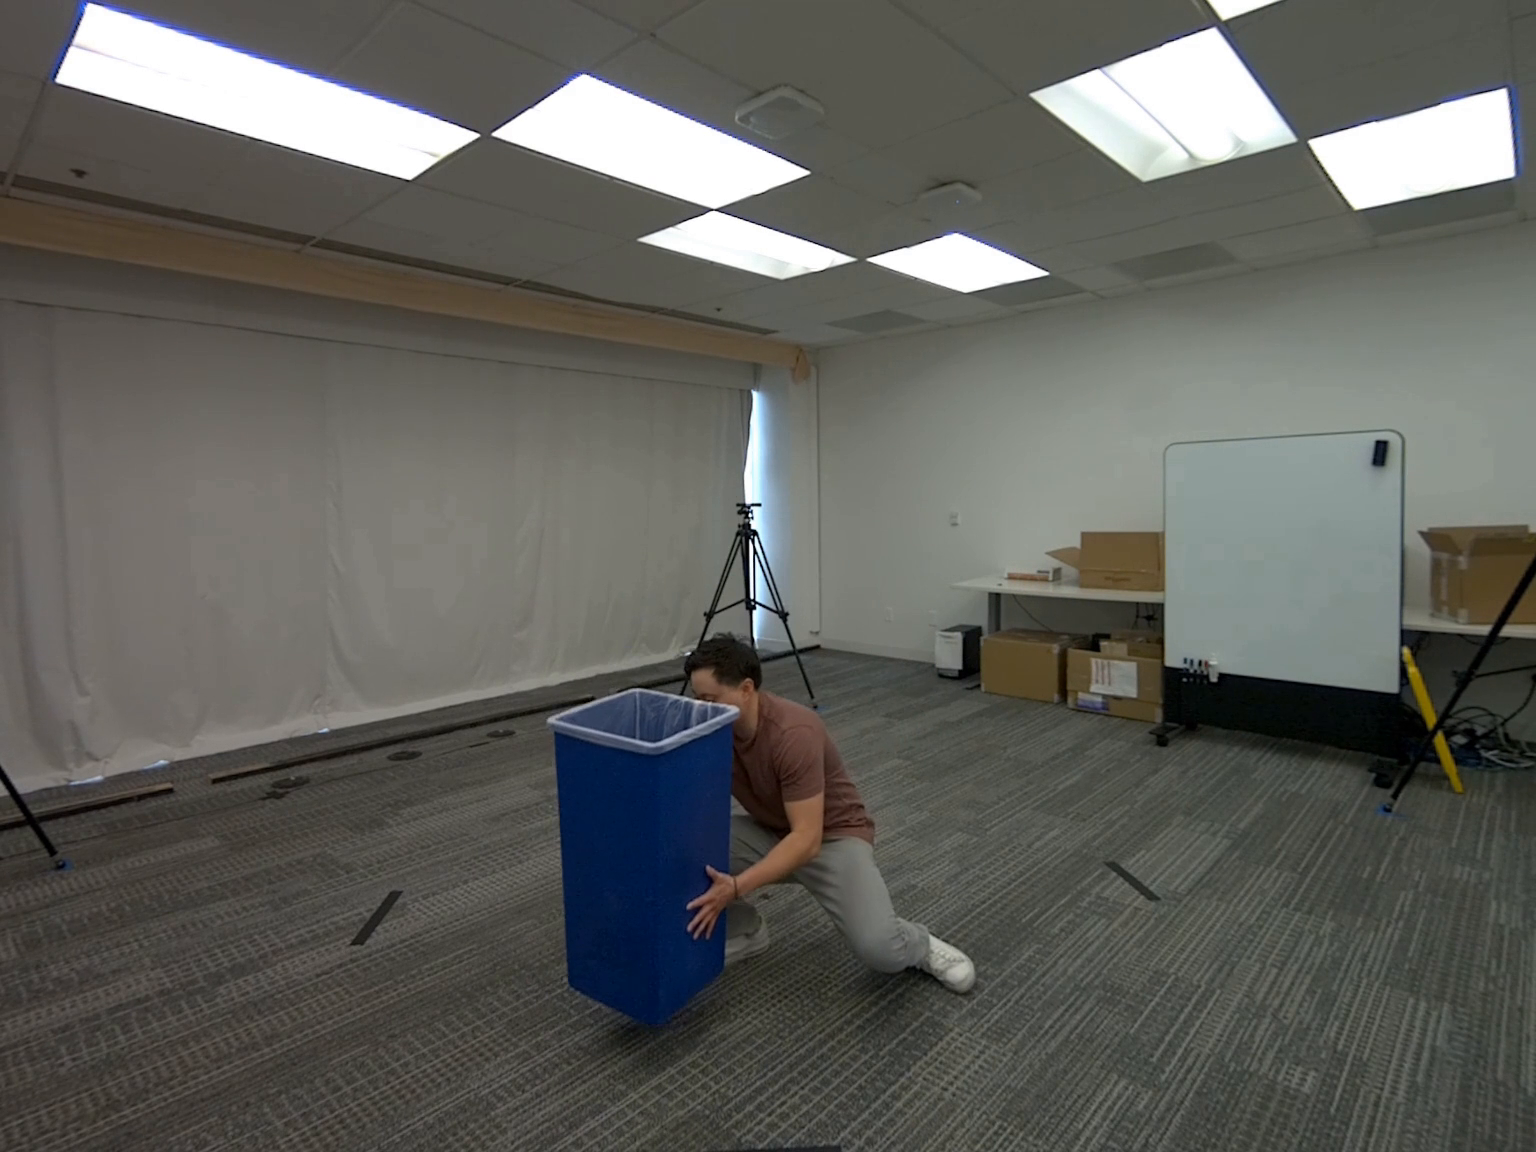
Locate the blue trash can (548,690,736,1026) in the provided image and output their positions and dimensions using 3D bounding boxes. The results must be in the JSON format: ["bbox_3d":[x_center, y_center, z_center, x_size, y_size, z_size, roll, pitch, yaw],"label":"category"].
[{"bbox_3d":[-0.313,0.703,2.170,0.390,0.711,0.364,3,6,32],"label":"blue trash can"}]
